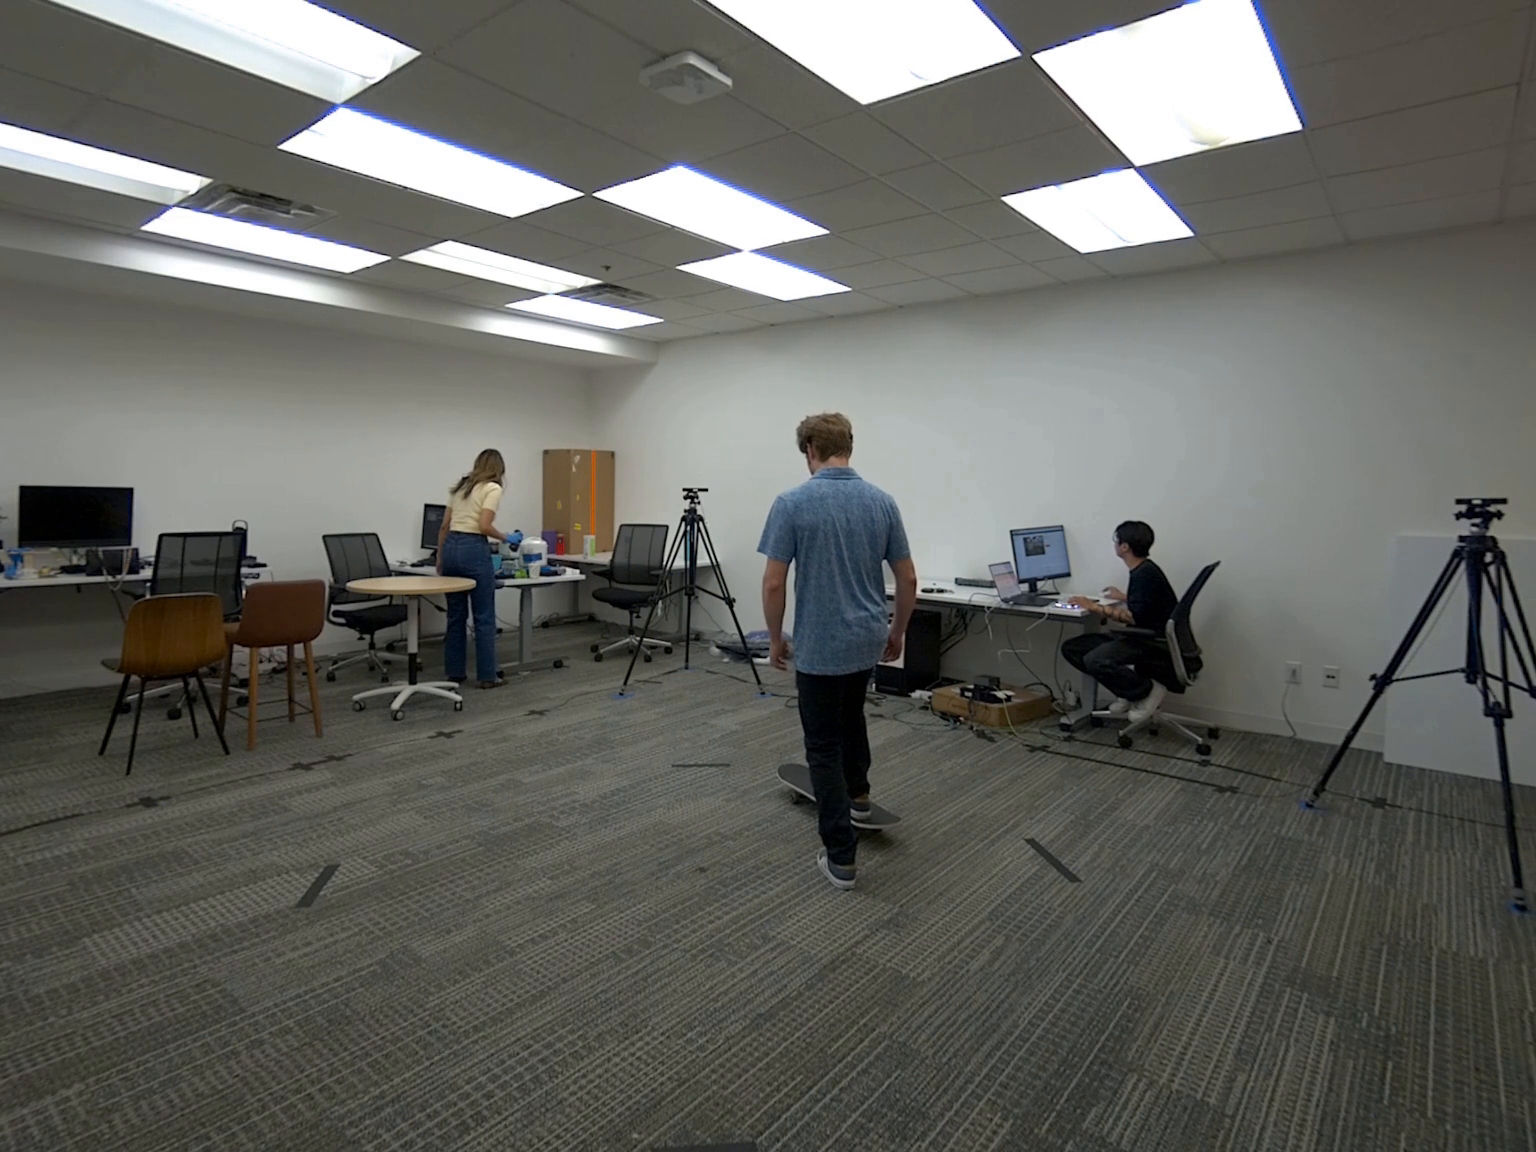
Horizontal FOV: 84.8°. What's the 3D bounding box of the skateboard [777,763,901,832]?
[{"bbox_3d":[0.276,0.968,3.650,0.188,0.110,0.809,-3,7,-29],"label":"skateboard"}]
